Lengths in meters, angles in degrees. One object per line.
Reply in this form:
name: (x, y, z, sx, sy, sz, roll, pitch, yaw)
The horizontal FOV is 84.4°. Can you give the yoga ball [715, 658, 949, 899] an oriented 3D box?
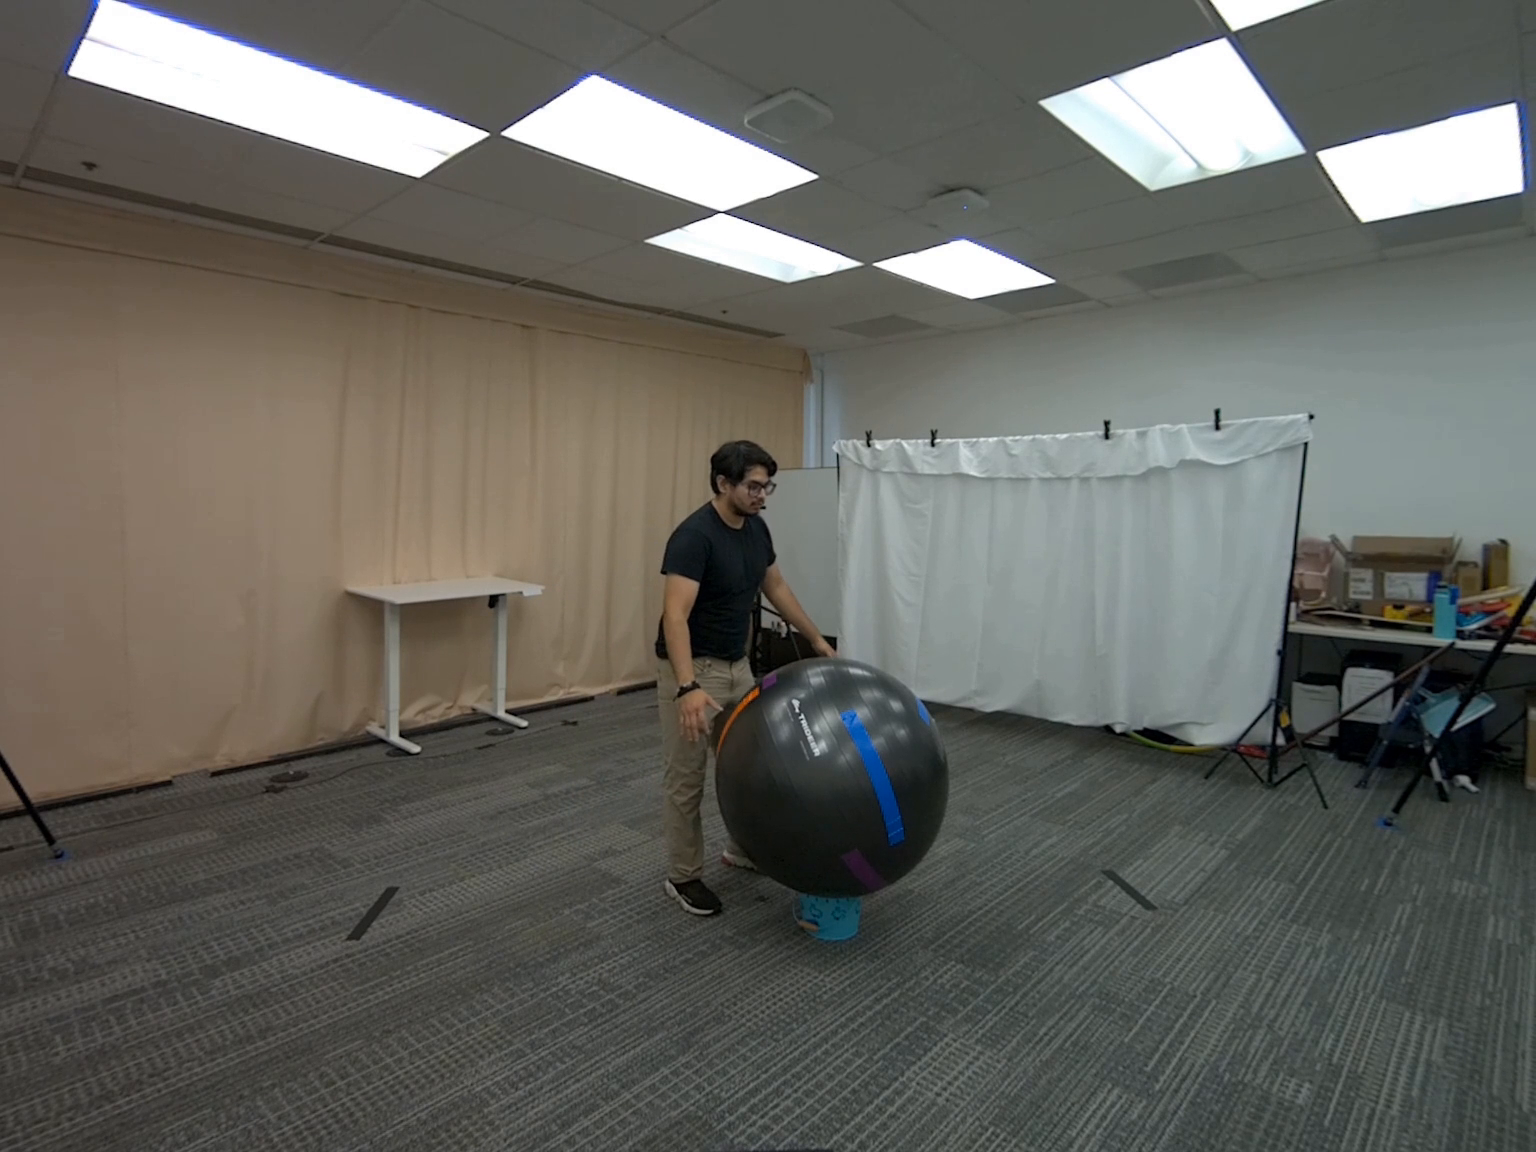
yoga ball: (0.214, 0.657, 2.767, 0.757, 0.756, 0.761, 0, 4, -2)
